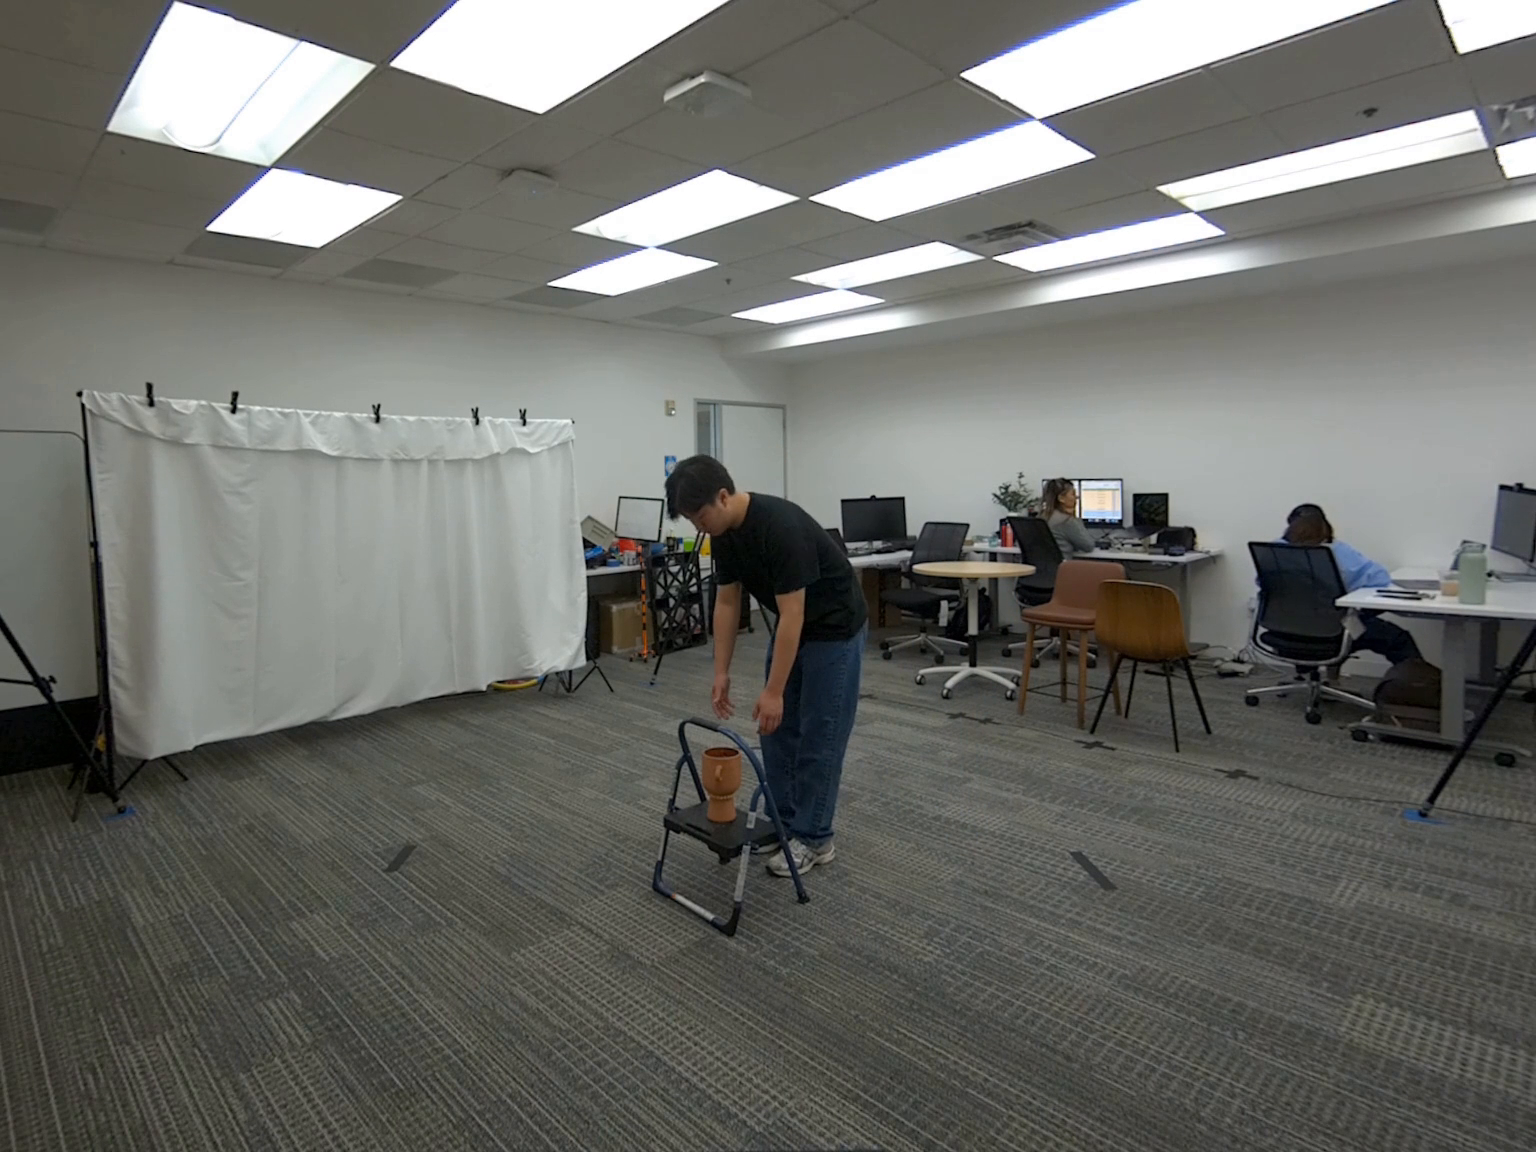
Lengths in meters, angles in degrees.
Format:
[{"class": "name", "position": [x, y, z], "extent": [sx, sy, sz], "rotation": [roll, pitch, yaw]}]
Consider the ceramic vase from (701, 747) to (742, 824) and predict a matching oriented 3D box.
[{"class": "ceramic vase", "position": [-0.153, 0.699, 2.862], "extent": [0.154, 0.219, 0.139], "rotation": [-3, 4, -44]}]
